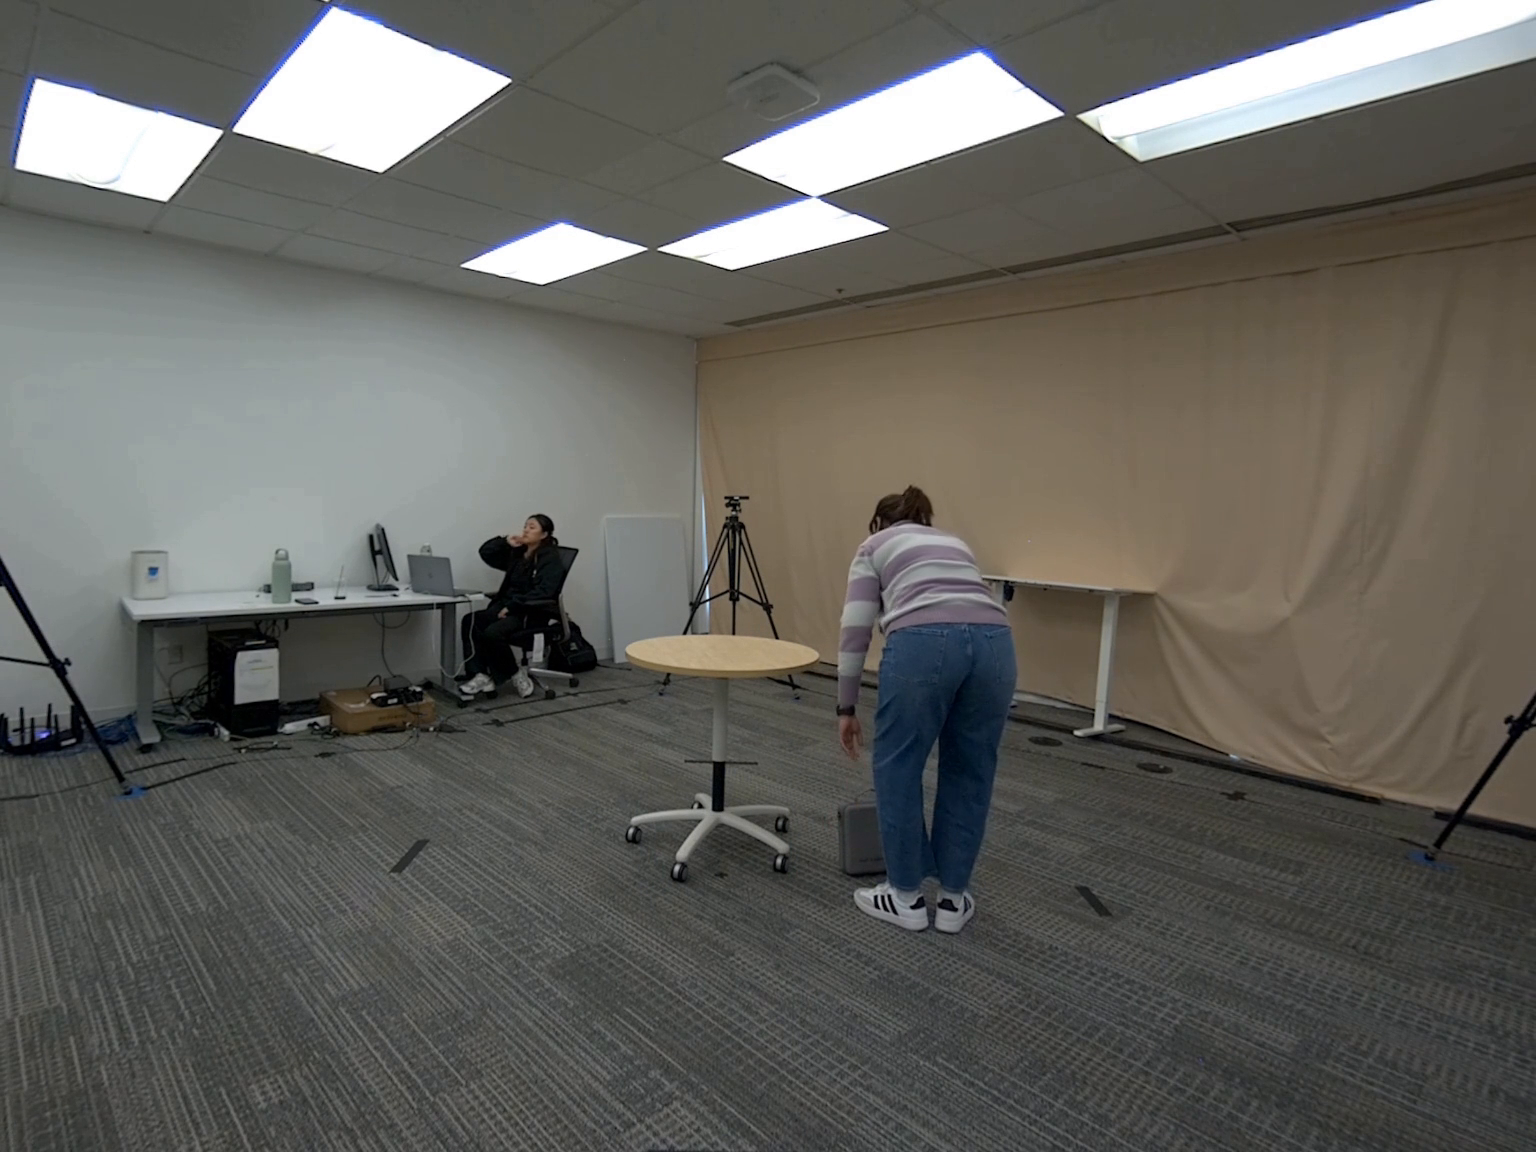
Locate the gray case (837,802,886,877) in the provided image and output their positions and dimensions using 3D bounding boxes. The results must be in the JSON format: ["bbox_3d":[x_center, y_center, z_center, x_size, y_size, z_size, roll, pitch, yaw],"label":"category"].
[{"bbox_3d":[0.388,0.974,3.177,0.254,0.261,0.105,-1,-5,-14],"label":"gray case"}]
